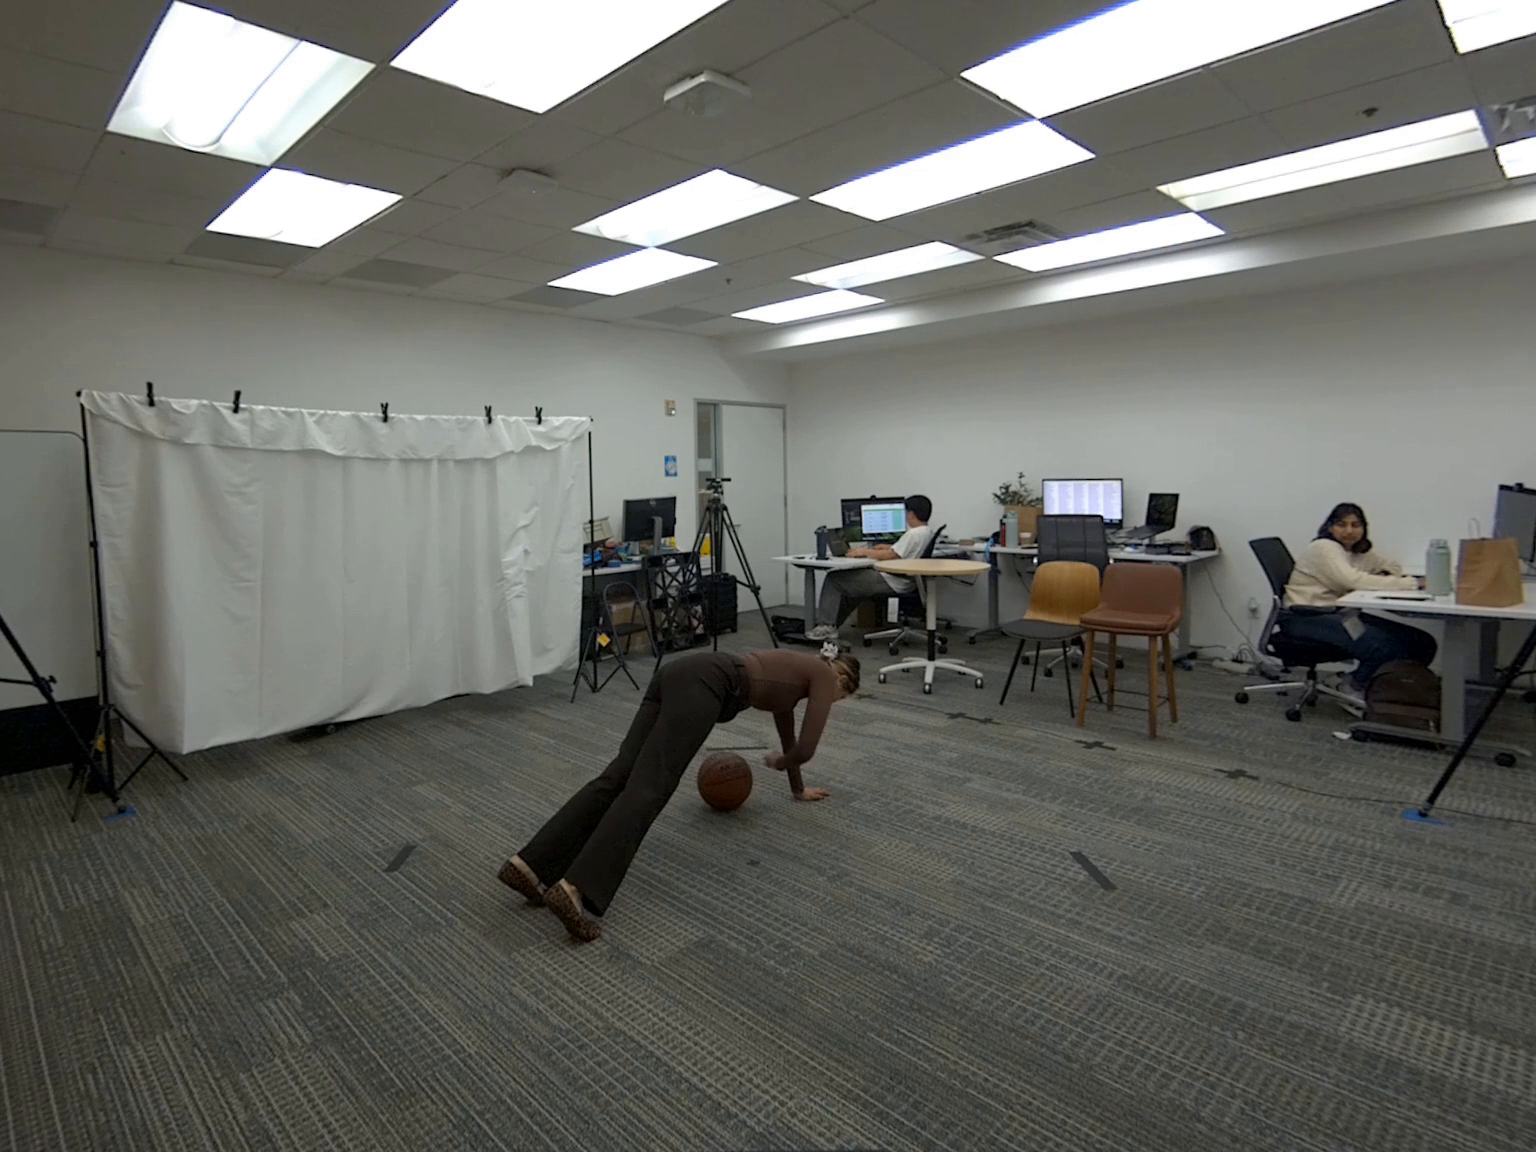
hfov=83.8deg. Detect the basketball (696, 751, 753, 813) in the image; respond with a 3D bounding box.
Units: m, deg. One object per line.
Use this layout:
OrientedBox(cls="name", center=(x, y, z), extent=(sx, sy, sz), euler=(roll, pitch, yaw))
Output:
OrientedBox(cls="basketball", center=(-0.184, 0.864, 3.624), extent=(0.236, 0.235, 0.237), euler=(-1, 5, -2))
